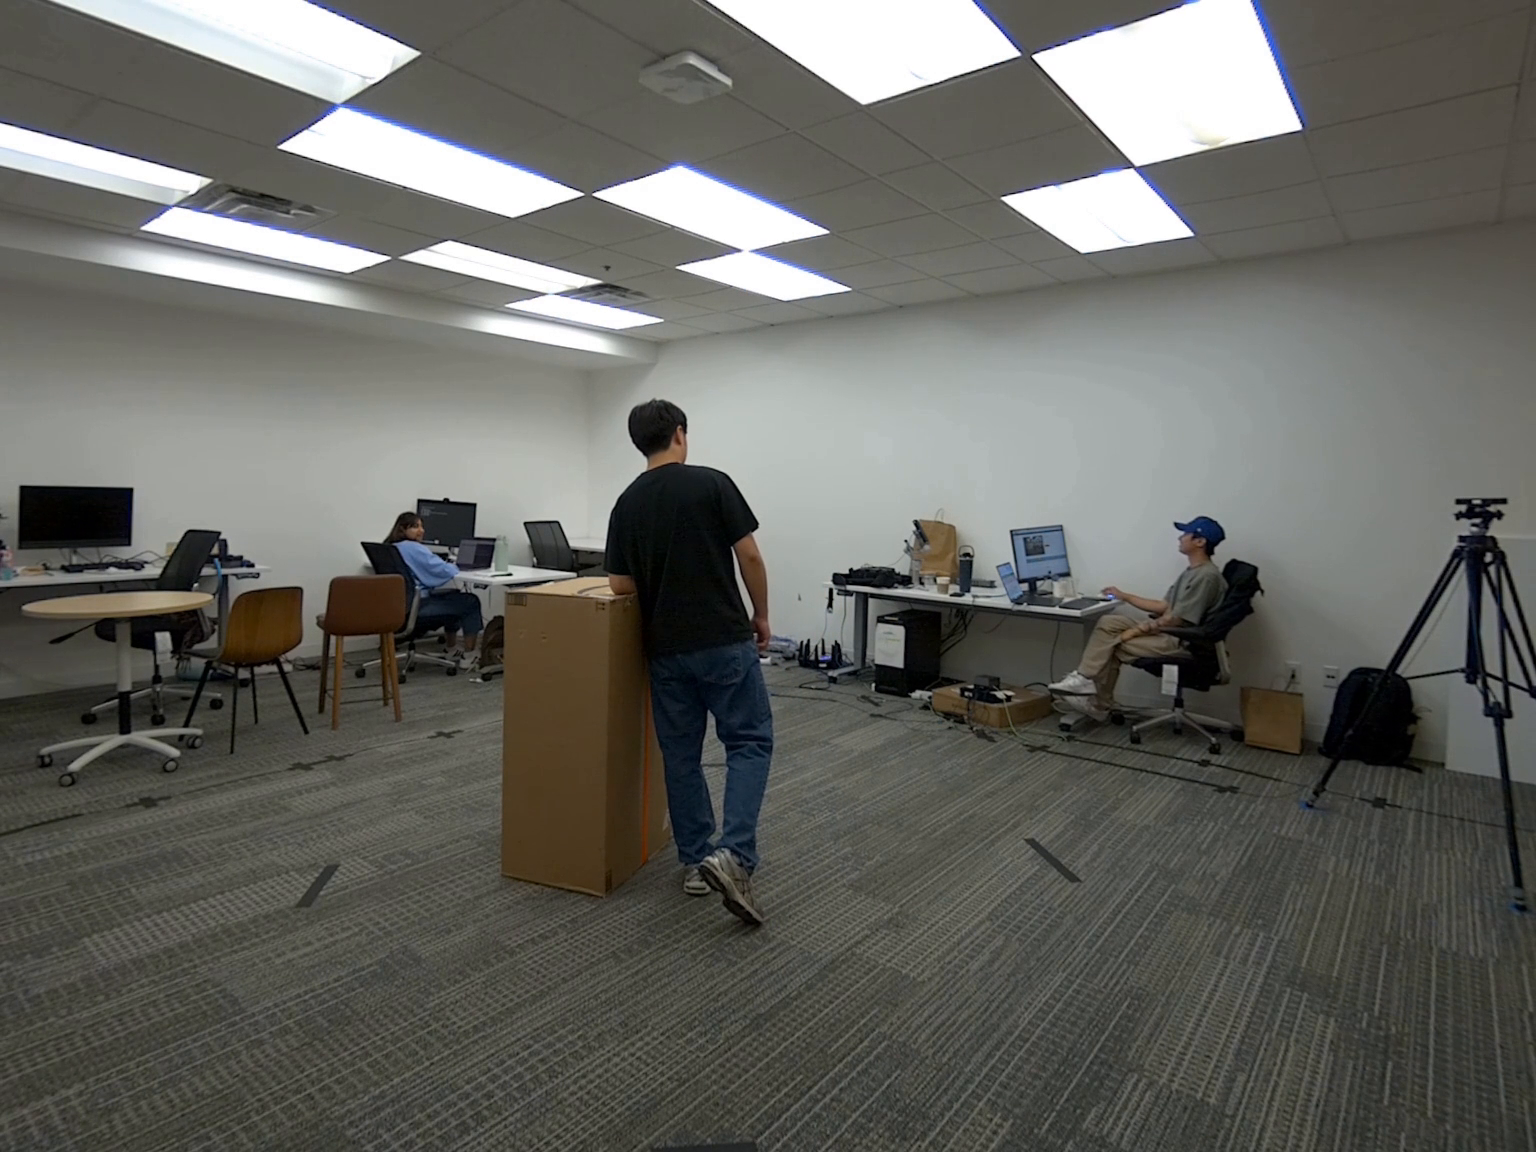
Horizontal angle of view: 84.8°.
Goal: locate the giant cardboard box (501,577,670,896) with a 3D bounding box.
[{"bbox_3d":[-0.666,0.541,3.196,0.457,1.024,0.572,3,3,20],"label":"giant cardboard box"}]
